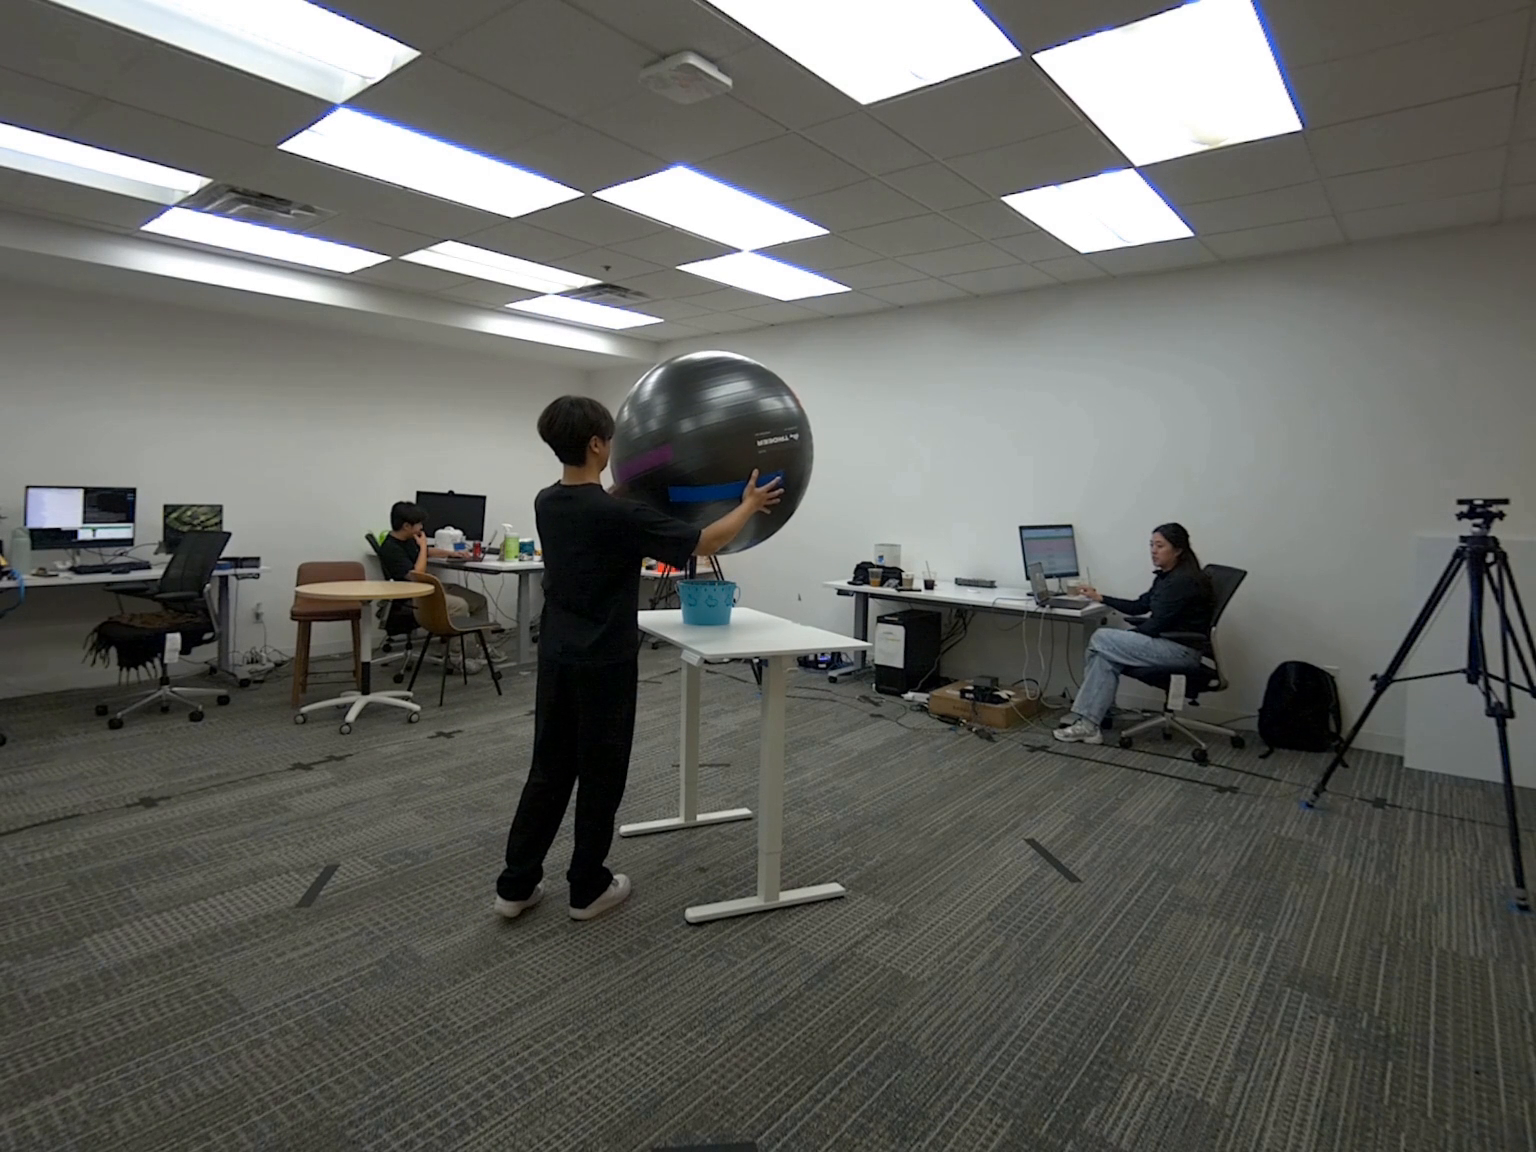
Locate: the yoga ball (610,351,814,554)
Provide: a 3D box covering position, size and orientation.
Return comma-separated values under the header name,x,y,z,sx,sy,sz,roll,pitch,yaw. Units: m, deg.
name,x,y,z,sx,sy,sz,roll,pitch,yaw
yoga ball,-0.223,-0.461,3.191,0.757,0.756,0.762,1,4,-2
